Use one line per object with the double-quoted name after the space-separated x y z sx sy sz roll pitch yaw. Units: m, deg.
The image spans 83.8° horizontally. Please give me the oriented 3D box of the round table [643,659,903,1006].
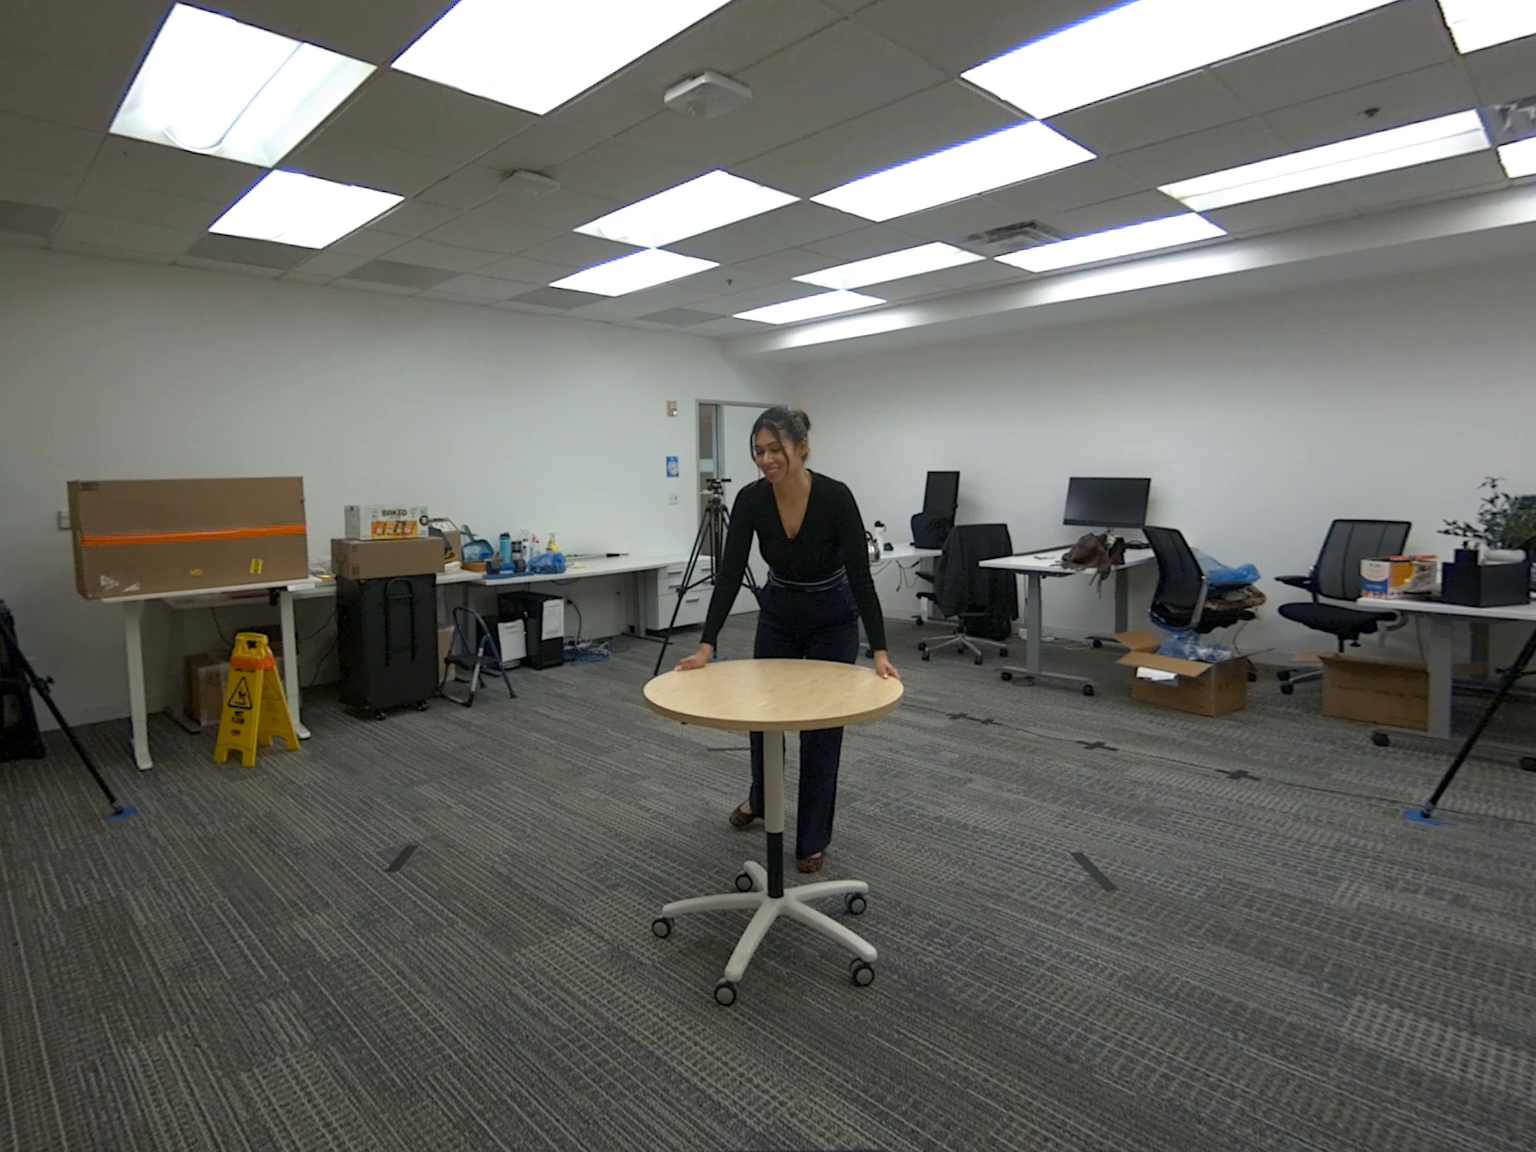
0.016 0.720 2.566 0.763 0.790 0.768 -1 5 -2 "round table"
